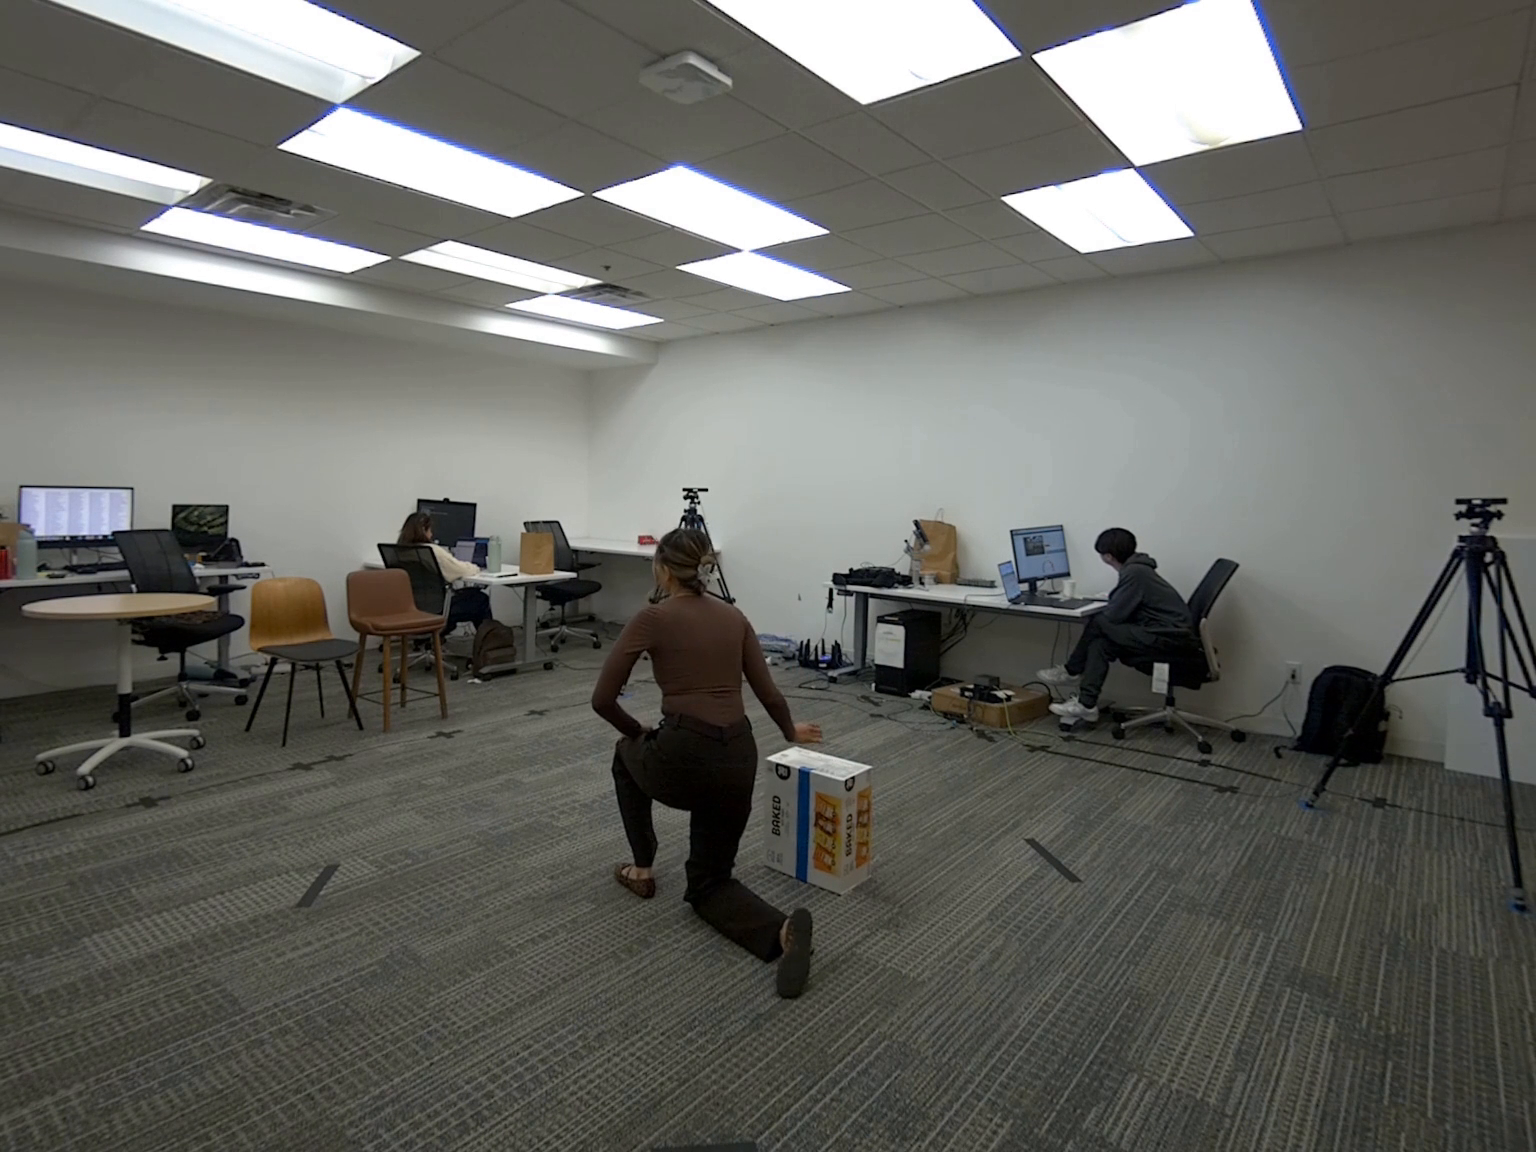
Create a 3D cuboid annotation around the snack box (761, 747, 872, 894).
[{"bbox_3d":[0.177,0.879,3.101,0.352,0.404,0.199,4,5,39],"label":"snack box"}]
